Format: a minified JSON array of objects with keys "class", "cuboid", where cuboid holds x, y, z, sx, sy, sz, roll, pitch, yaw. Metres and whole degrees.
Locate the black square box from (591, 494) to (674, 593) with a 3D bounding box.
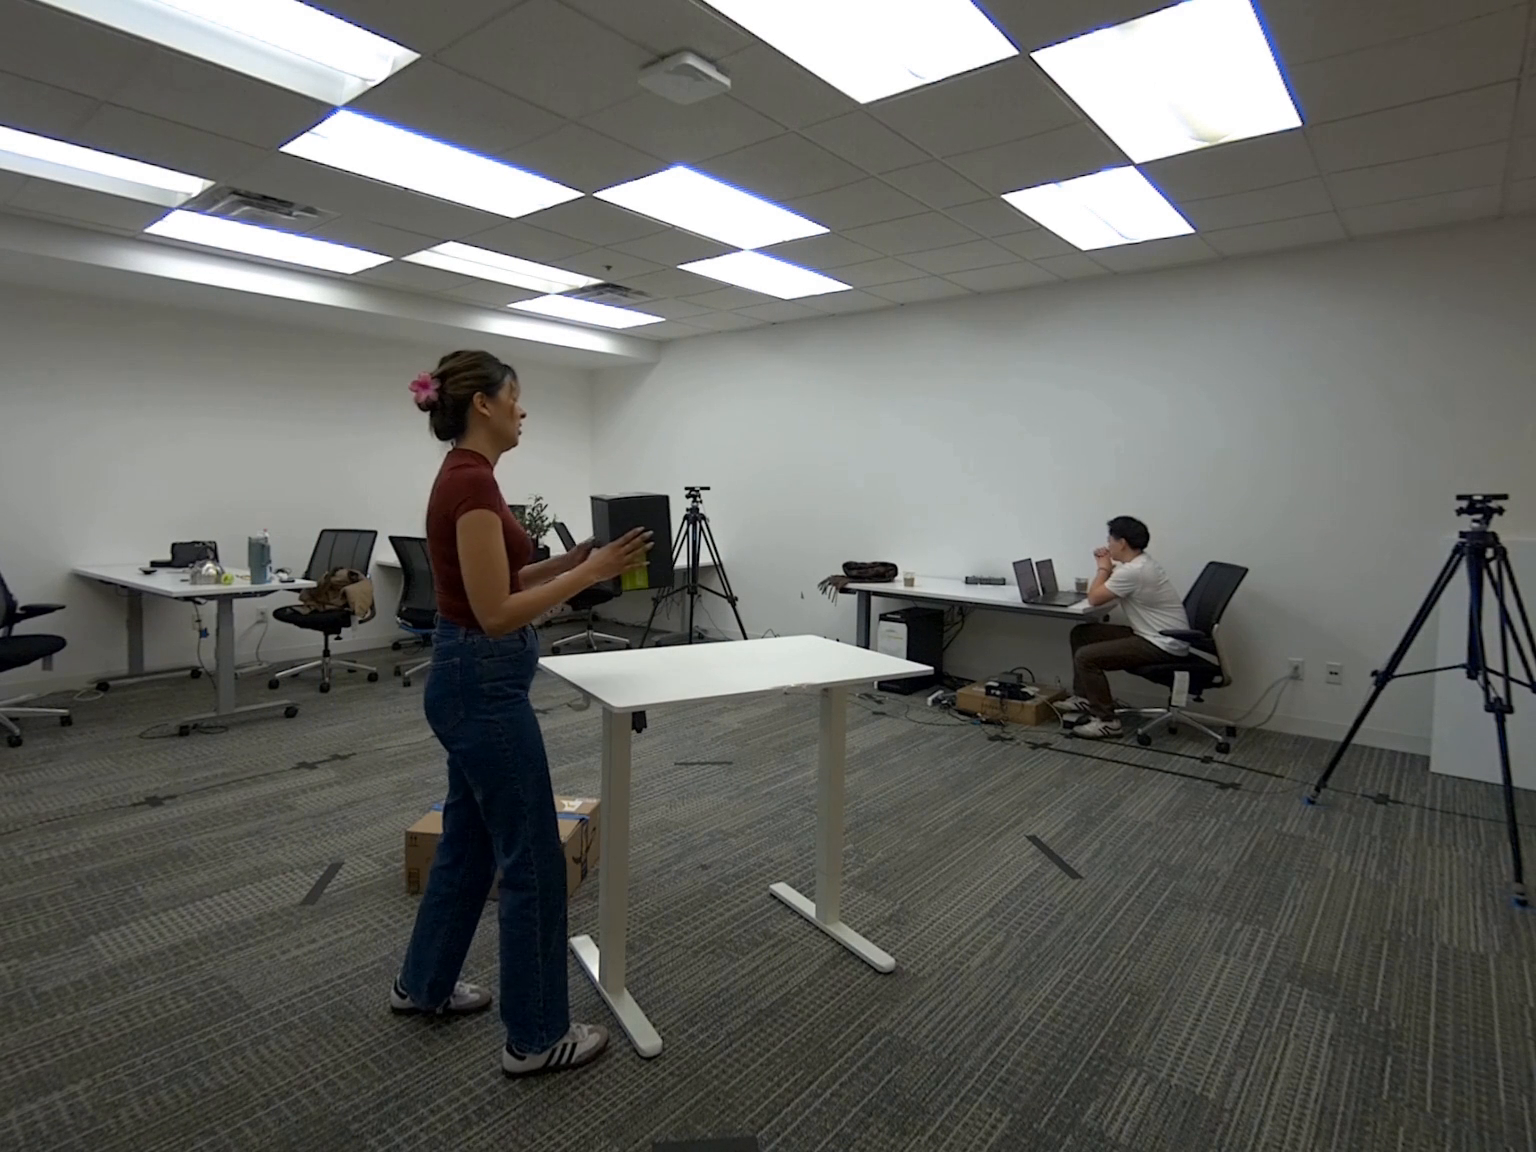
[{"class":"black square box","cuboid":[-0.359,-0.099,2.162,0.153,0.226,0.223,-6,10,-22]}]
